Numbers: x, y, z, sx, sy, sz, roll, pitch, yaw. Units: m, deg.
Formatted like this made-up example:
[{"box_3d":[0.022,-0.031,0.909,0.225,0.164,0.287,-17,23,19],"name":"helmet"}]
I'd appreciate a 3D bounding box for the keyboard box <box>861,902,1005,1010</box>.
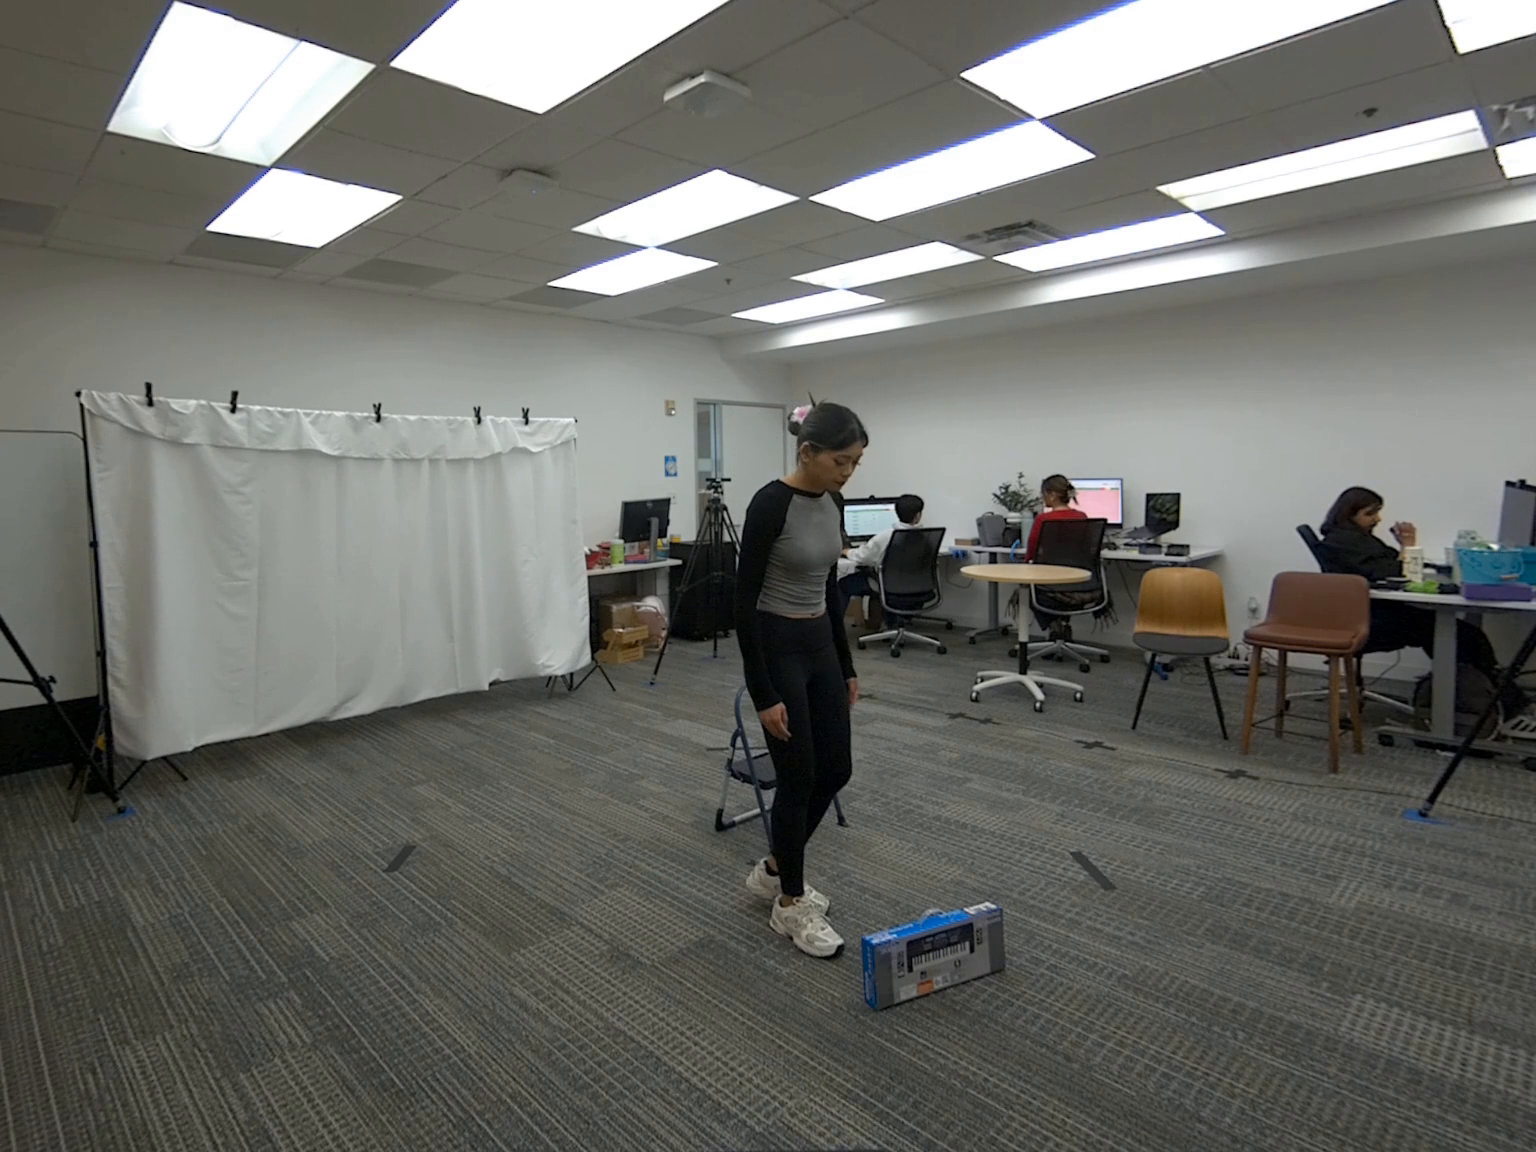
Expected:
[{"box_3d":[0.467,1.037,2.341,0.428,0.176,0.060,-4,0,-25],"name":"keyboard box"}]
